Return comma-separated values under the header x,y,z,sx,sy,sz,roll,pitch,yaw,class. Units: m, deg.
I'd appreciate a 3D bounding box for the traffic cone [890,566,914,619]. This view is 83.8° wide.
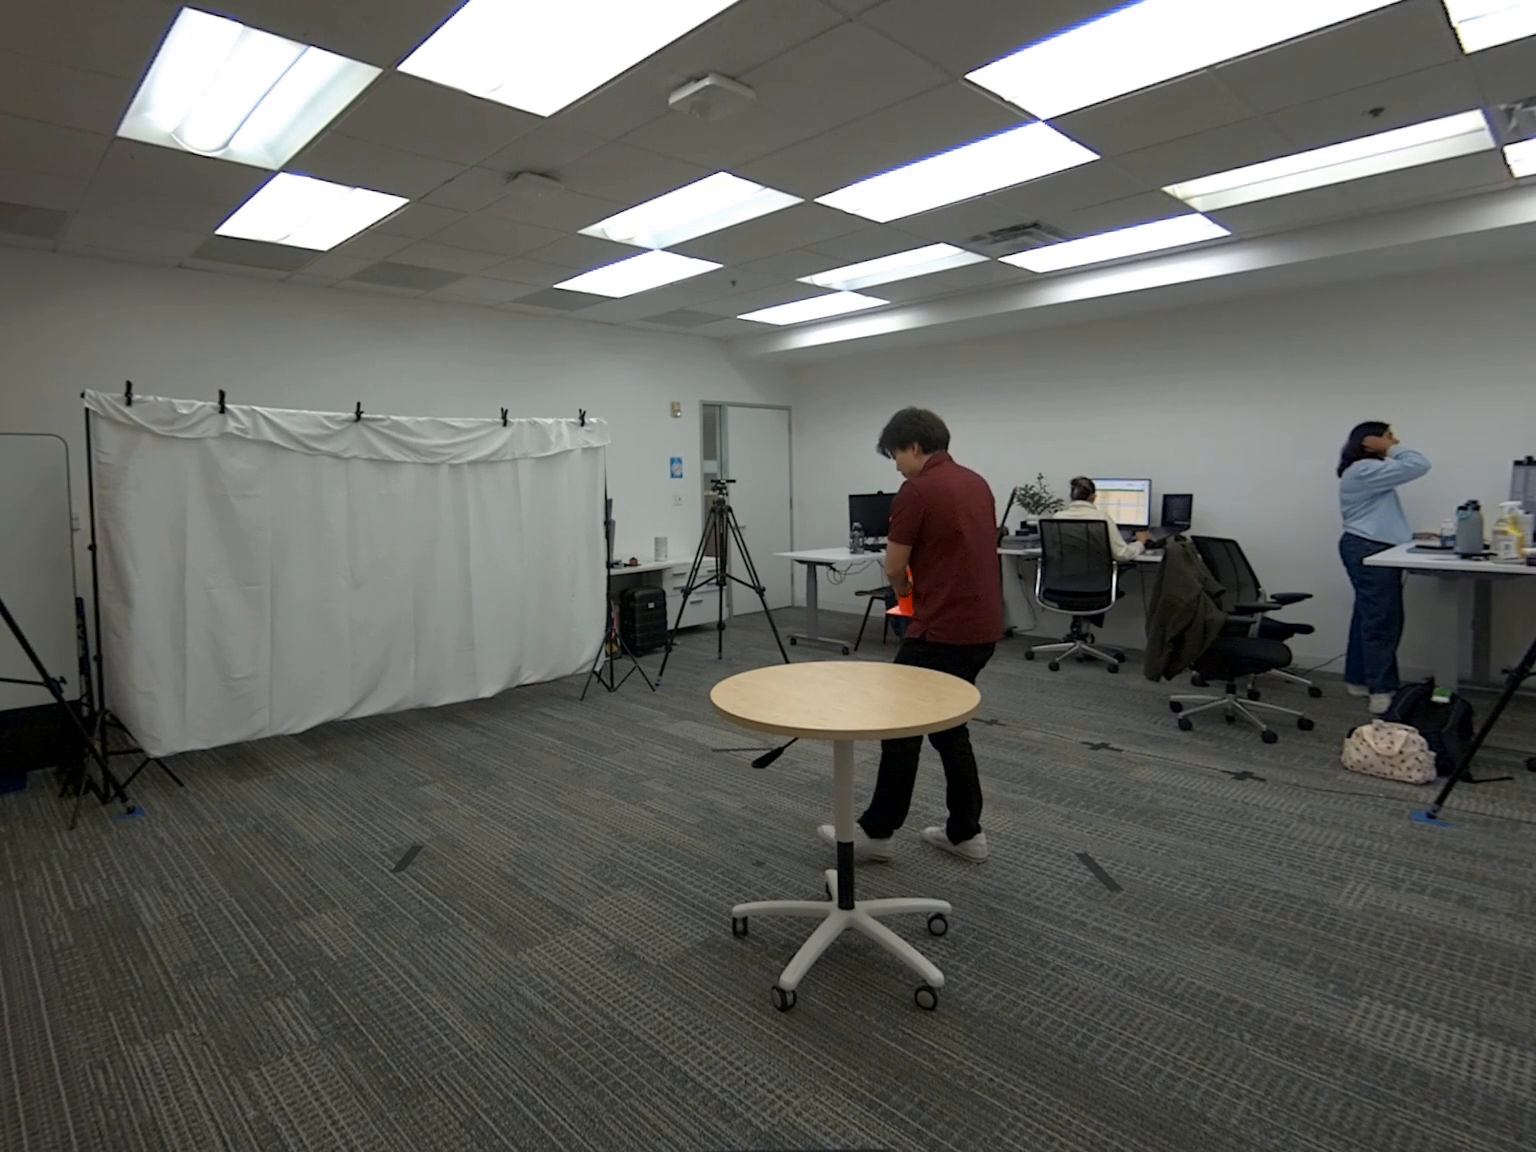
x,y,z,sx,sy,sz,roll,pitch,yaw,class
0.556,-0.052,3.407,0.200,0.379,0.210,-22,12,-32,traffic cone
